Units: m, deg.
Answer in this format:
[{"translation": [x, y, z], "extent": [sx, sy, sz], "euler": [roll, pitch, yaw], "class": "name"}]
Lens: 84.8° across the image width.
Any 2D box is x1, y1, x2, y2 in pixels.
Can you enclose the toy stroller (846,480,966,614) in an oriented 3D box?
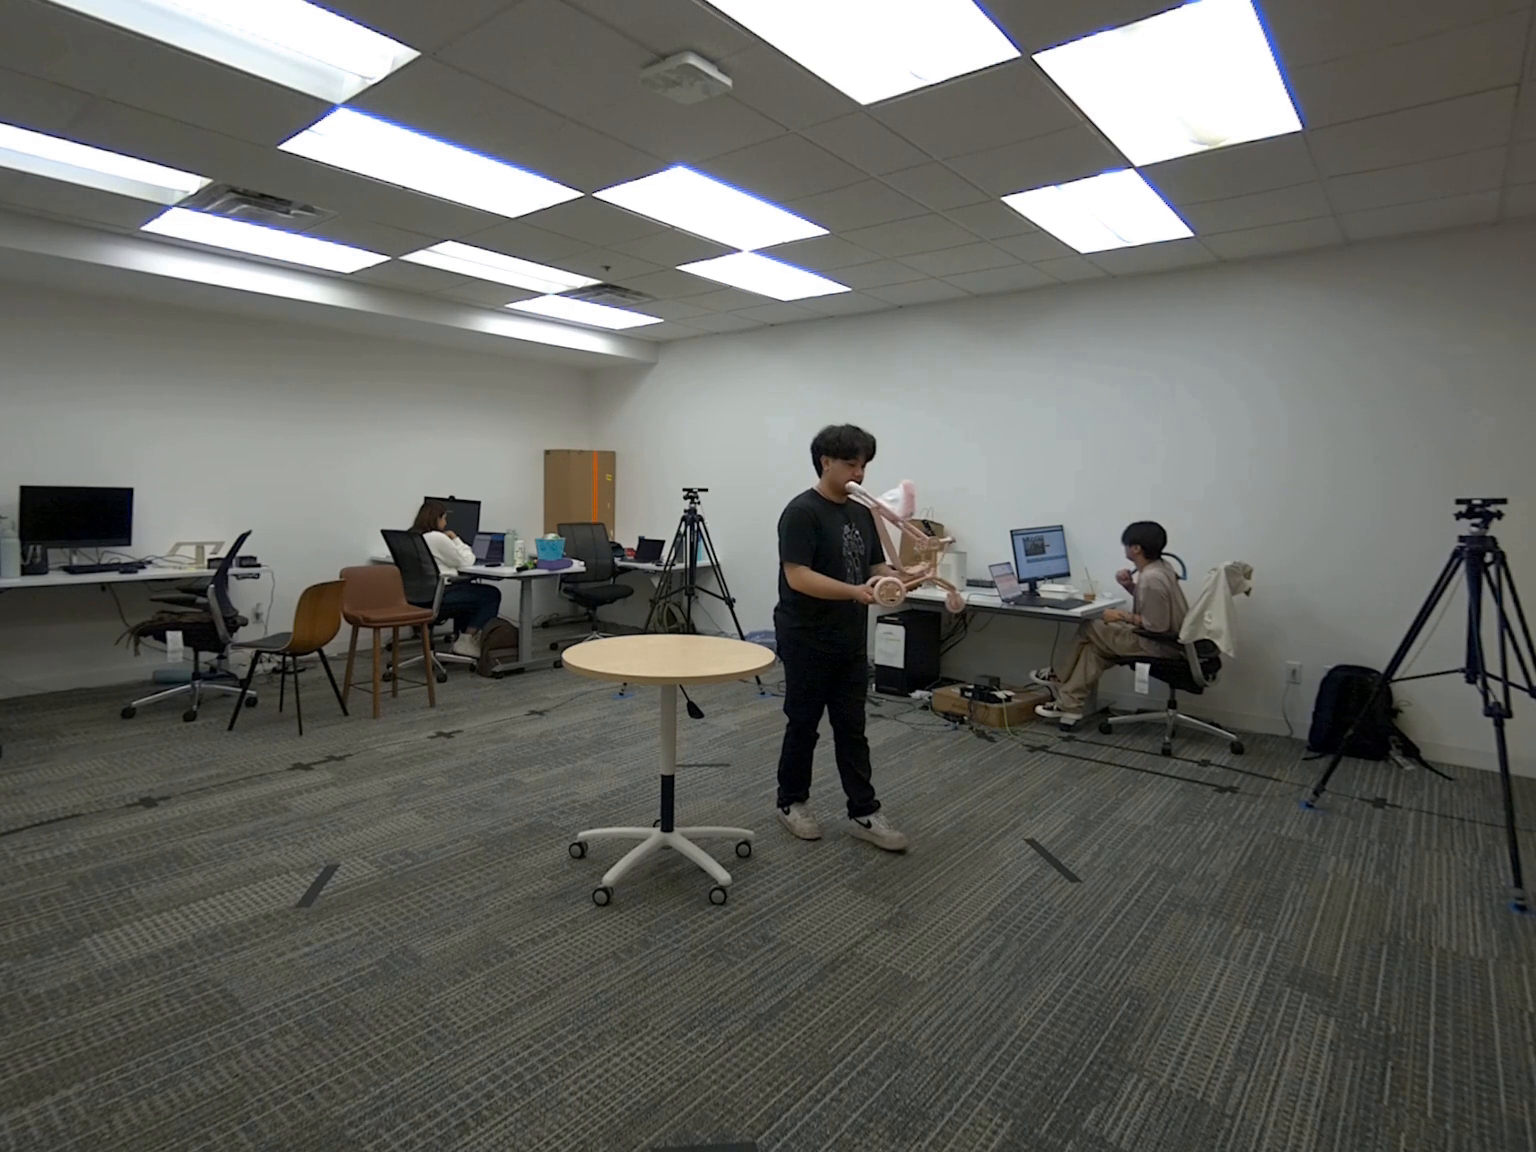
[{"translation": [0.500, -0.113, 3.086], "extent": [0.343, 0.537, 0.279], "euler": [-11, -2, 6], "class": "toy stroller"}]
